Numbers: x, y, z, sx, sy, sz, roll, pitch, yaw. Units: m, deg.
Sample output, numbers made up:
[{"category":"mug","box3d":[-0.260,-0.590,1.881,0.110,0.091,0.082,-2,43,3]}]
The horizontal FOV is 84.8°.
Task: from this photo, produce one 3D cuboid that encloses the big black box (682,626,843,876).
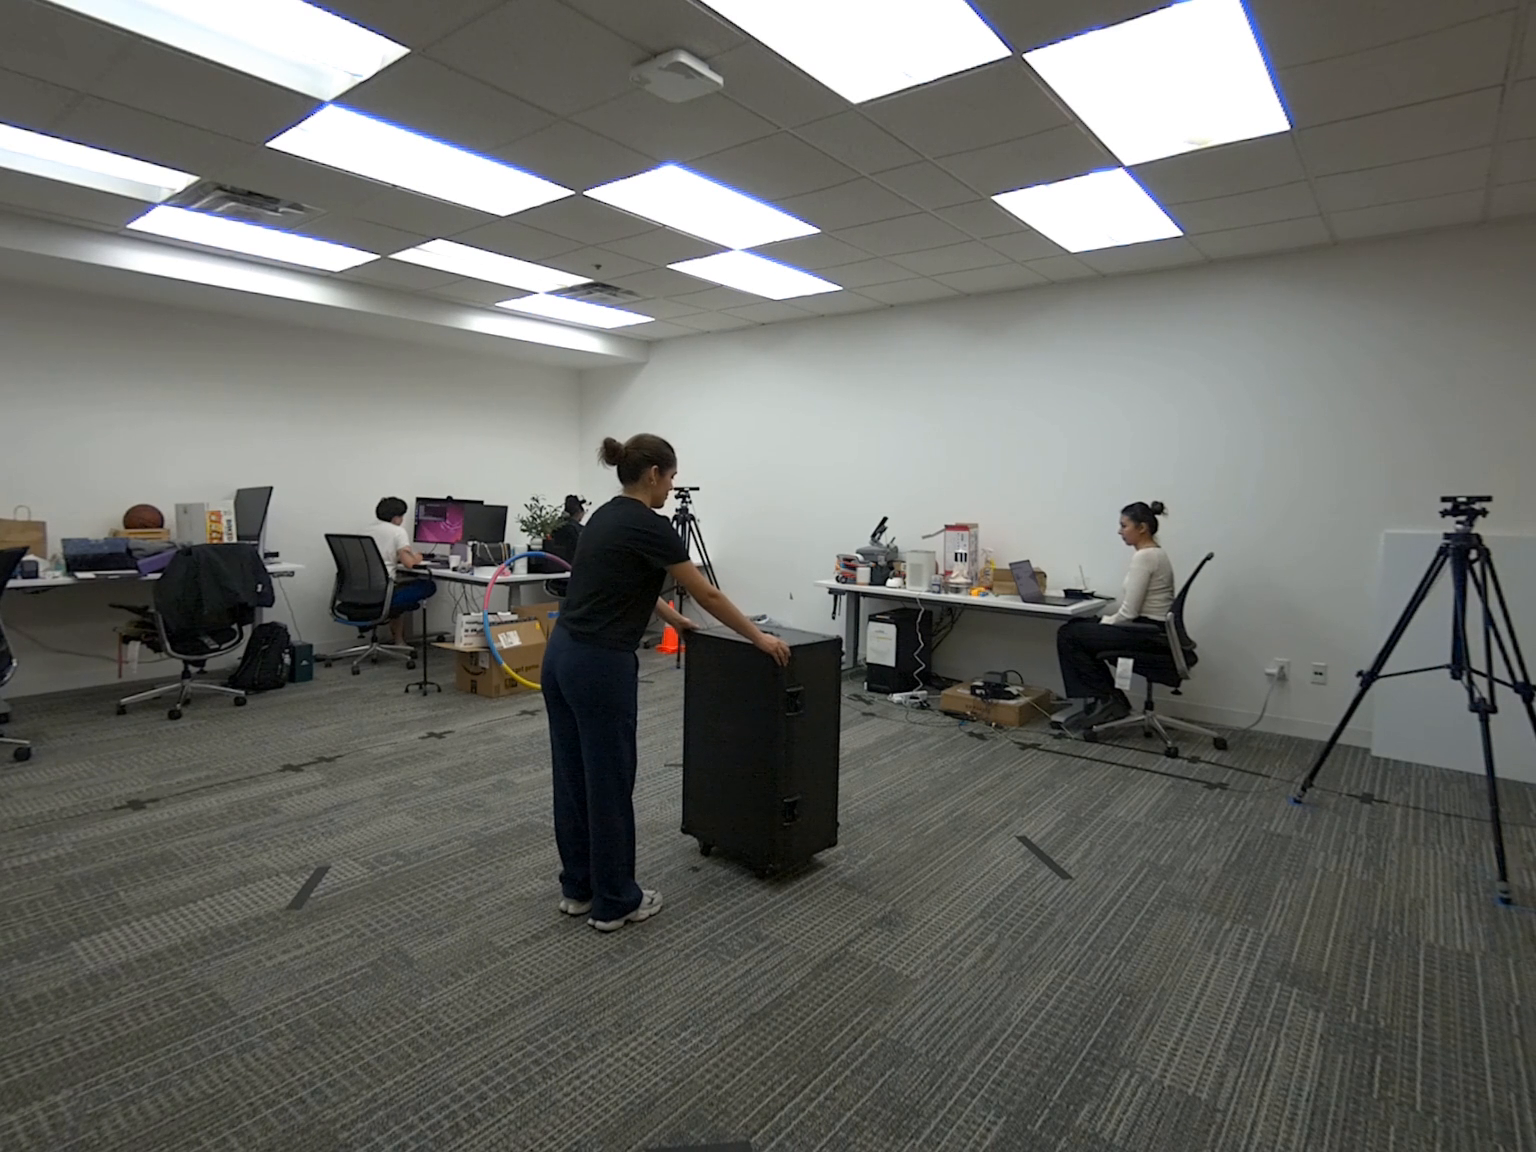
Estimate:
[{"category":"big black box","box3d":[-0.012,0.634,3.215,0.539,0.860,0.384,4,3,44]}]
